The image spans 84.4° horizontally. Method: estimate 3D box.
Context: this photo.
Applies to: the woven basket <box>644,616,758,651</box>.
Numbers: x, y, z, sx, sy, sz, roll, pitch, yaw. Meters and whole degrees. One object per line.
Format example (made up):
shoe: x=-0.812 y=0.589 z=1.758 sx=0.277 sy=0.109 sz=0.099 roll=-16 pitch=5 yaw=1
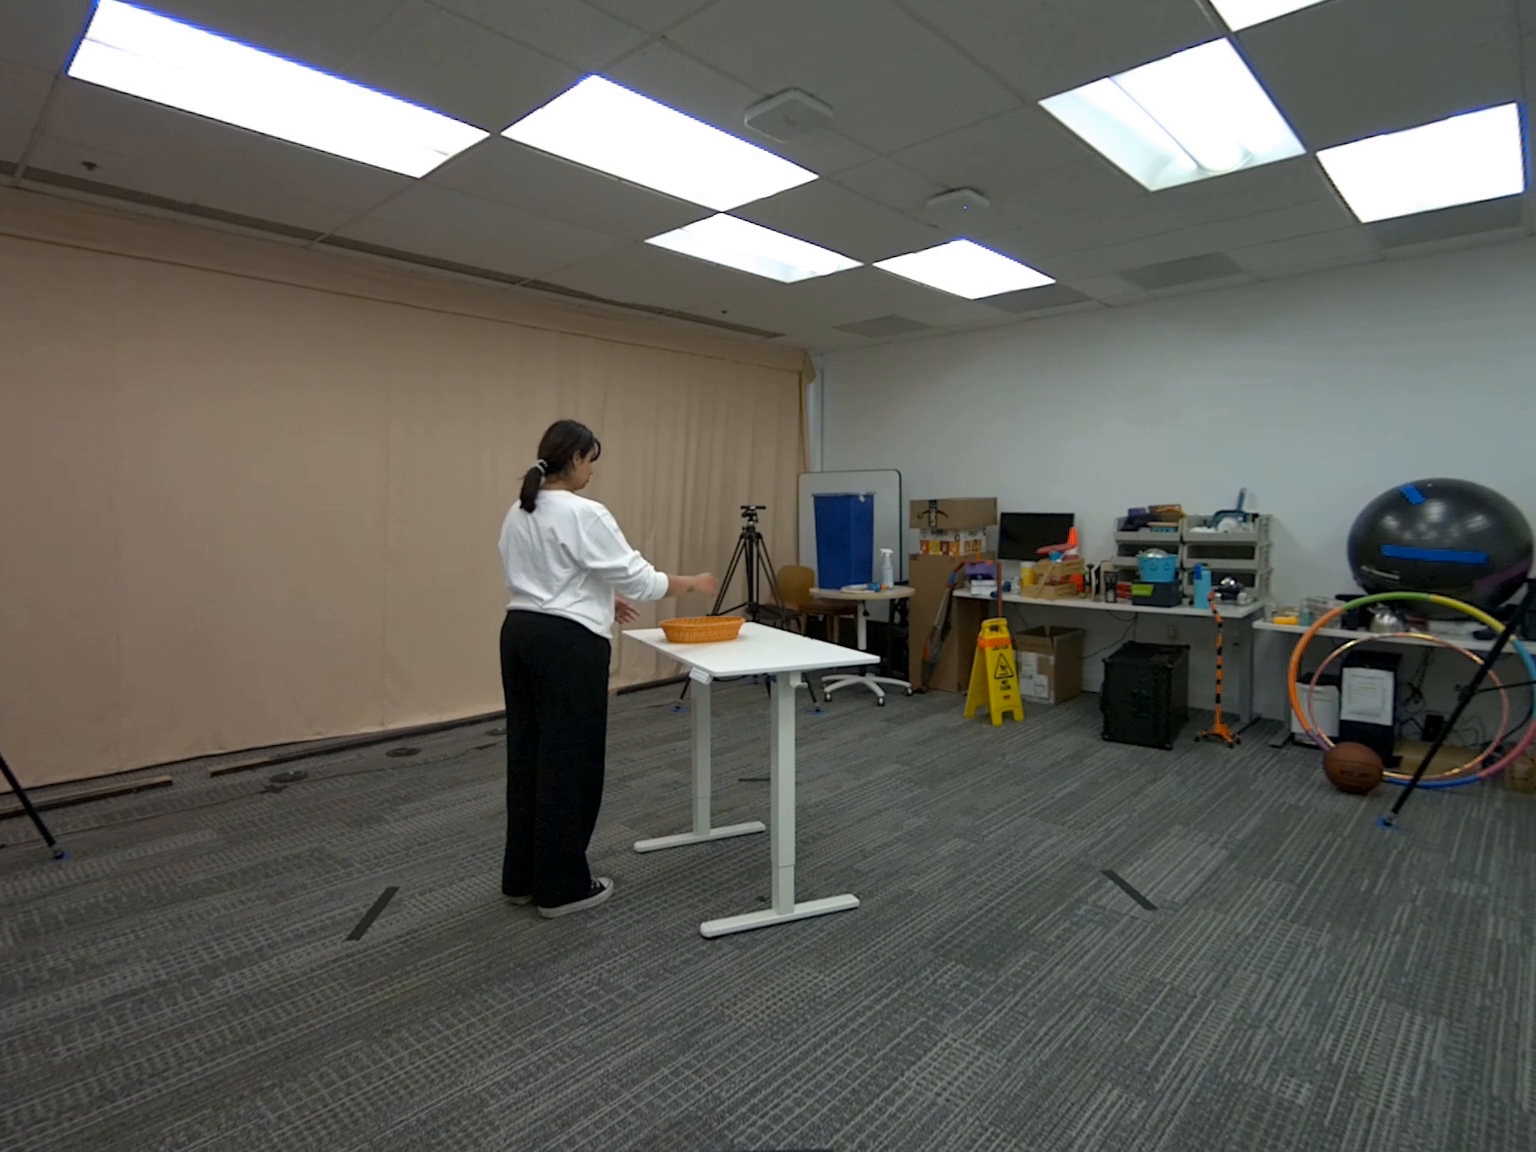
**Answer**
woven basket: x=-0.257 y=0.211 z=3.224 sx=0.340 sy=0.073 sz=0.260 roll=-3 pitch=5 yaw=-34
